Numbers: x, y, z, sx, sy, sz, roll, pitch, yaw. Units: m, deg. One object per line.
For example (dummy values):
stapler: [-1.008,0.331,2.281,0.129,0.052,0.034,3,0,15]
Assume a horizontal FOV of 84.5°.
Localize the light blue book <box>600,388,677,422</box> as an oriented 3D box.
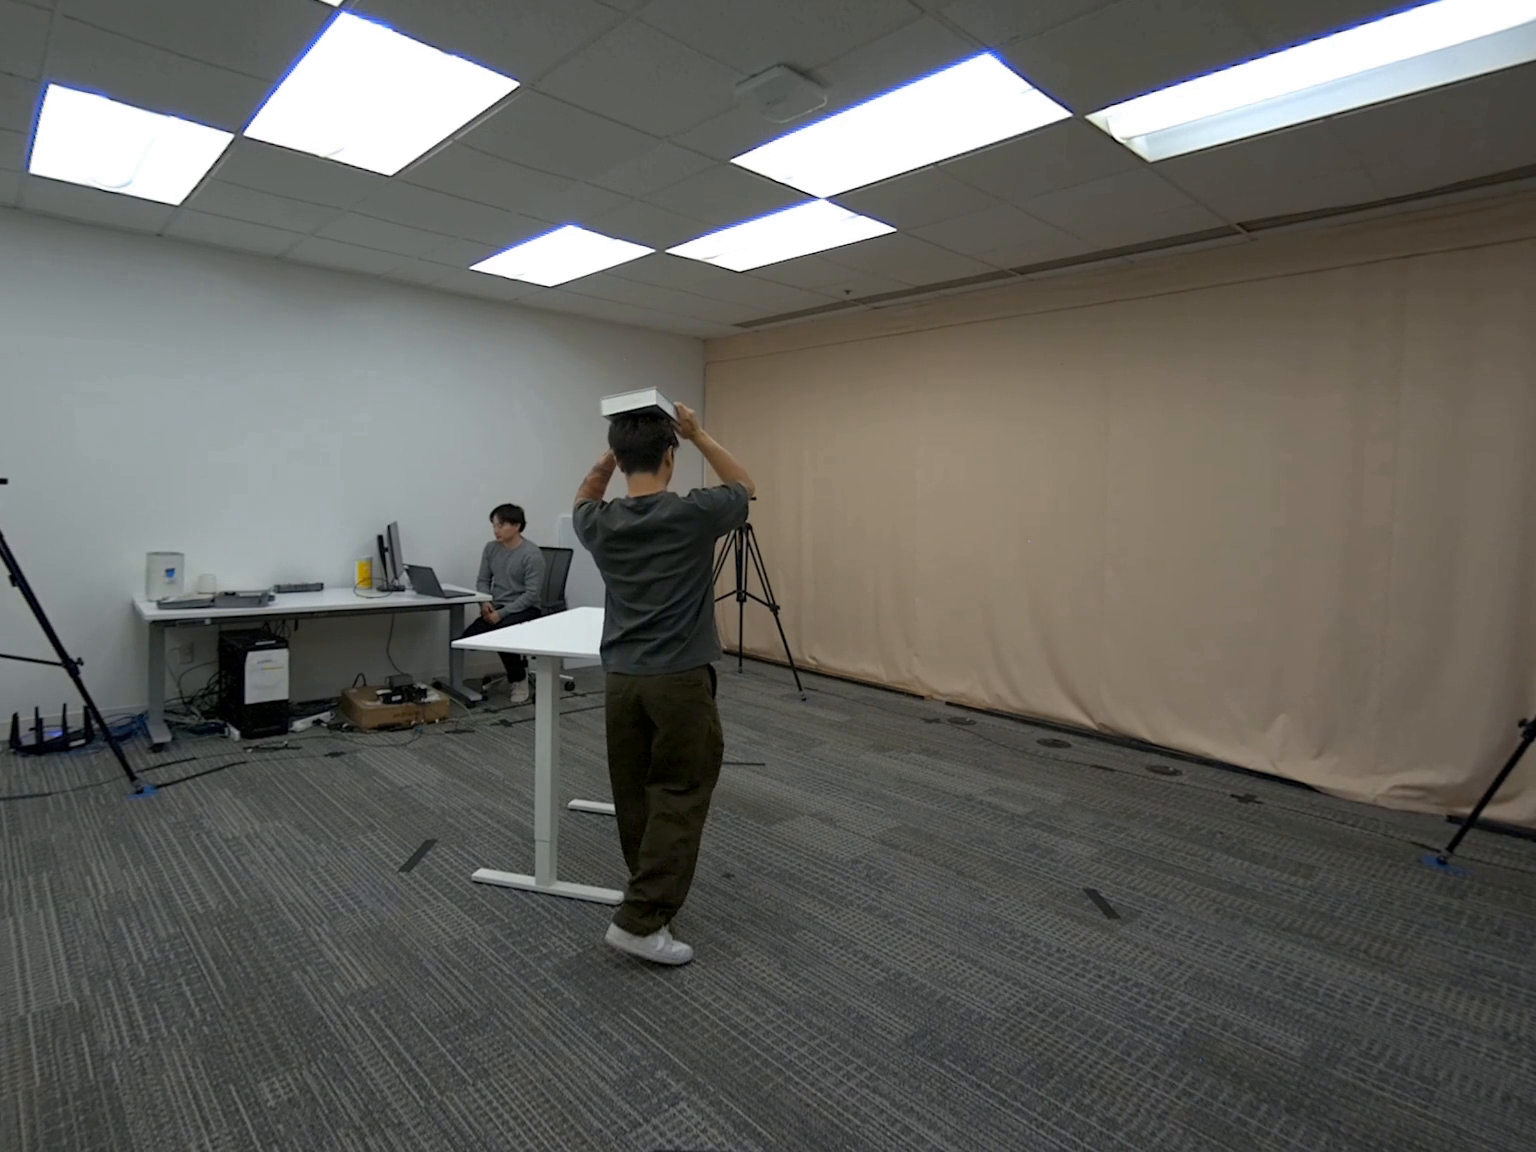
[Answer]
light blue book: [-0.395,-0.510,2.673,0.193,0.059,0.256,-8,-11,13]
